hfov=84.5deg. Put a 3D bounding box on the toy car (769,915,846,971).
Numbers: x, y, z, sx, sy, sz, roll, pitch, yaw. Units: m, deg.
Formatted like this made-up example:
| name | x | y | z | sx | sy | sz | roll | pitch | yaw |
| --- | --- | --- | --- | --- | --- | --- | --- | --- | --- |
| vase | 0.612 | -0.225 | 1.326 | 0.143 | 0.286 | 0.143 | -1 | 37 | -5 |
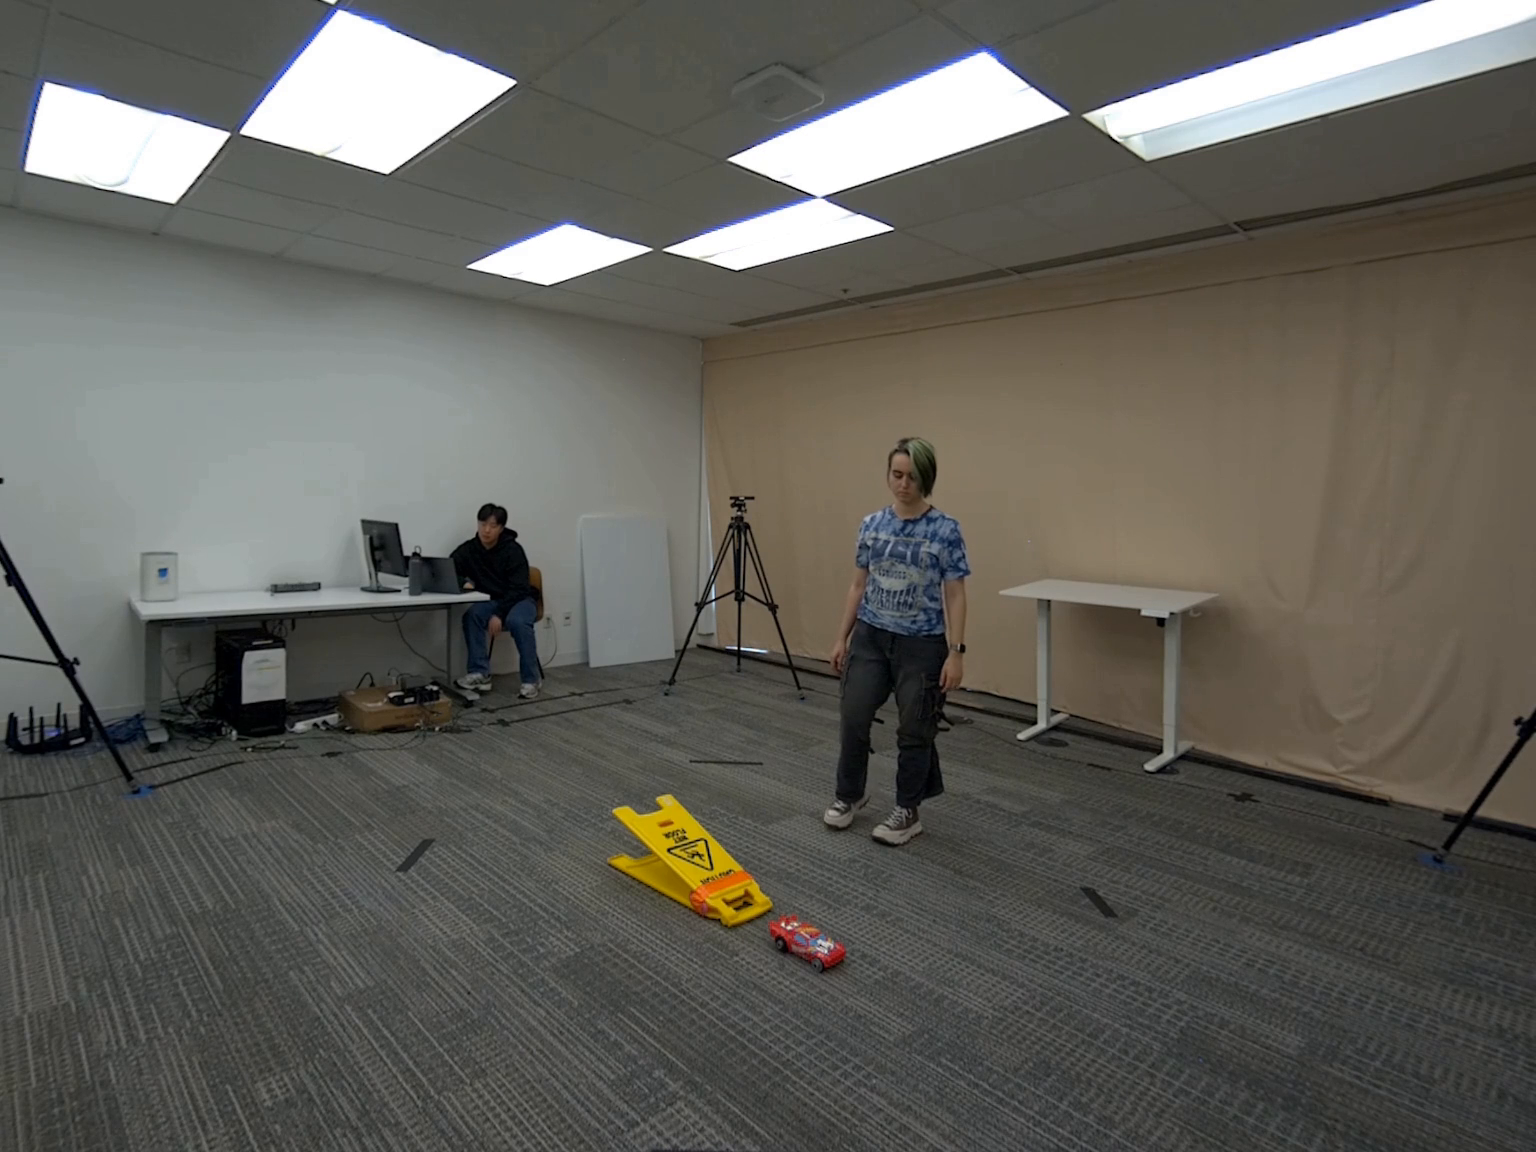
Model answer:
| name | x | y | z | sx | sy | sz | roll | pitch | yaw |
| --- | --- | --- | --- | --- | --- | --- | --- | --- | --- |
| toy car | 0.112 | 1.125 | 2.583 | 0.127 | 0.082 | 0.262 | -4 | 19 | -45 |
